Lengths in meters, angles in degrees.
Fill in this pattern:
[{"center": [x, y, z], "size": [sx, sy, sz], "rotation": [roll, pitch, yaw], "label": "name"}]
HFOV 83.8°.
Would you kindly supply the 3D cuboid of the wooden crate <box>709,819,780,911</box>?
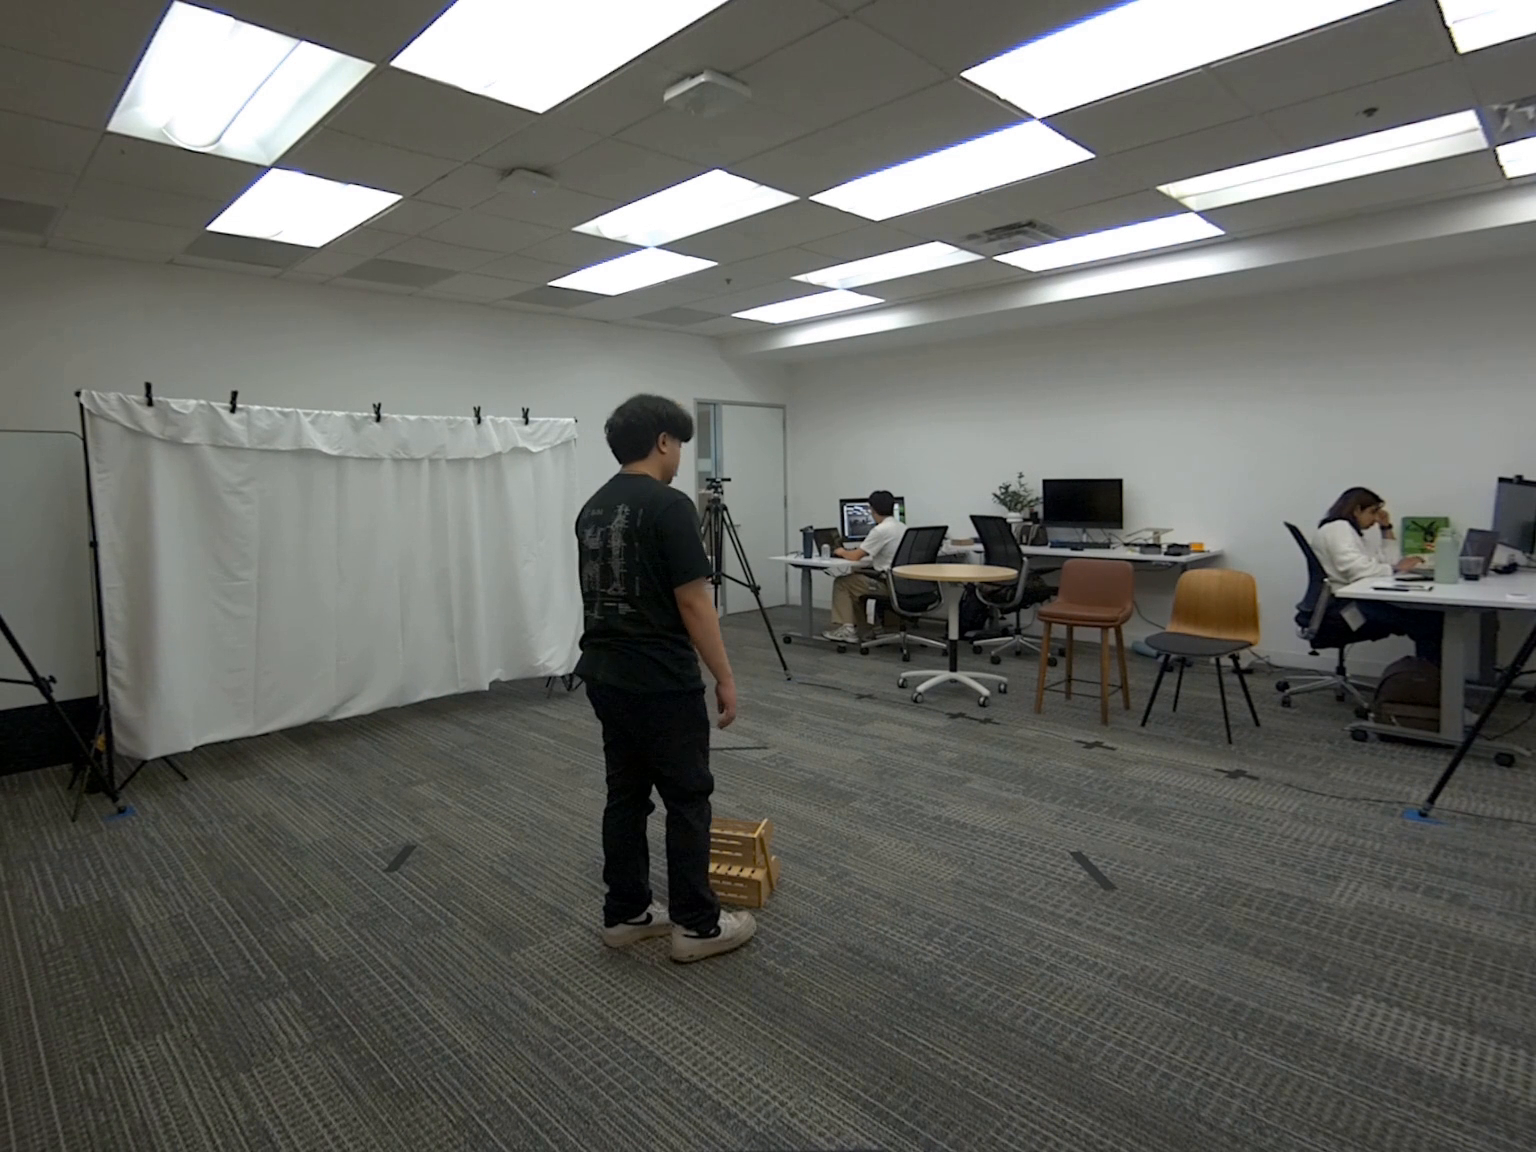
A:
[{"center": [-0.139, 0.932, 2.912], "size": [0.330, 0.272, 0.299], "rotation": [0, 7, 17], "label": "wooden crate"}]
